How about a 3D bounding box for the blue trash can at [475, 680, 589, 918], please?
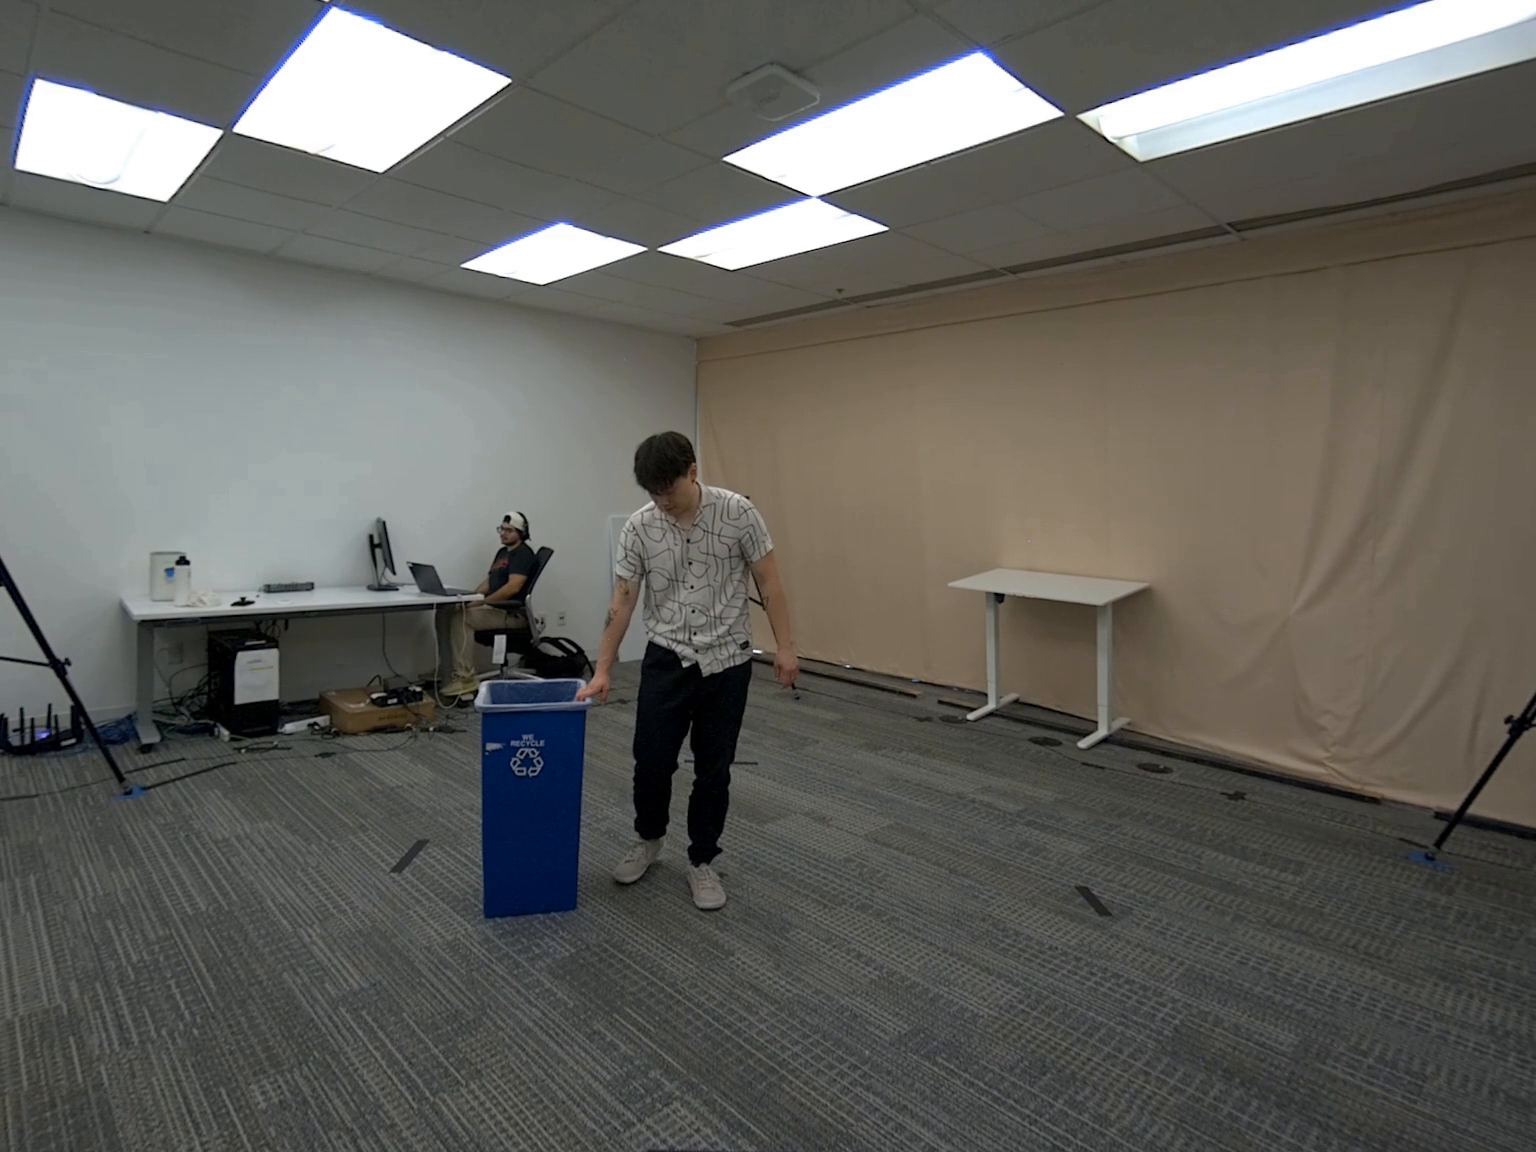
[{"bbox_3d":[-0.815,0.751,2.905,0.369,0.711,0.384,1,4,-16],"label":"blue trash can"}]
